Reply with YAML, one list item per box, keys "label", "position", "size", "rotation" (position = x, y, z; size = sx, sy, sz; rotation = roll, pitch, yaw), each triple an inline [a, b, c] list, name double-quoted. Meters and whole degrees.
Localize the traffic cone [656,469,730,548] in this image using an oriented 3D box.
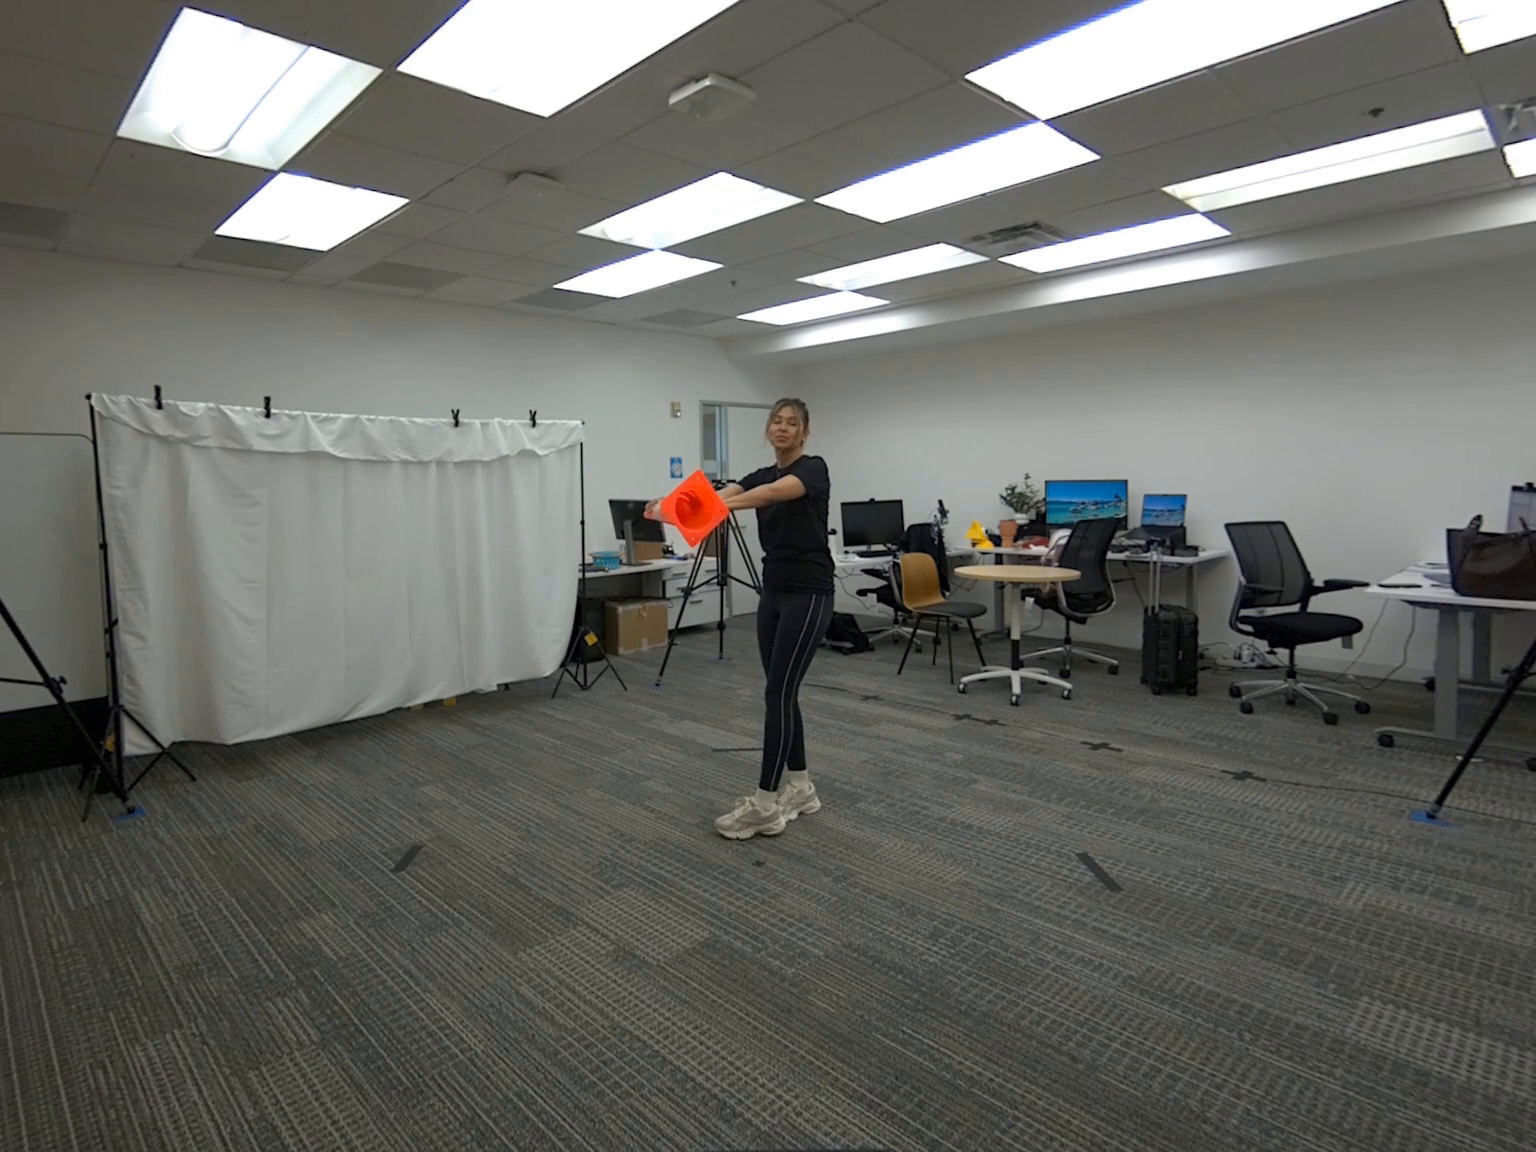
- label: "traffic cone"
  position: [-0.343, -0.232, 3.095]
  size: [0.203, 0.200, 0.393]
  rotation: [-45, 21, -24]
